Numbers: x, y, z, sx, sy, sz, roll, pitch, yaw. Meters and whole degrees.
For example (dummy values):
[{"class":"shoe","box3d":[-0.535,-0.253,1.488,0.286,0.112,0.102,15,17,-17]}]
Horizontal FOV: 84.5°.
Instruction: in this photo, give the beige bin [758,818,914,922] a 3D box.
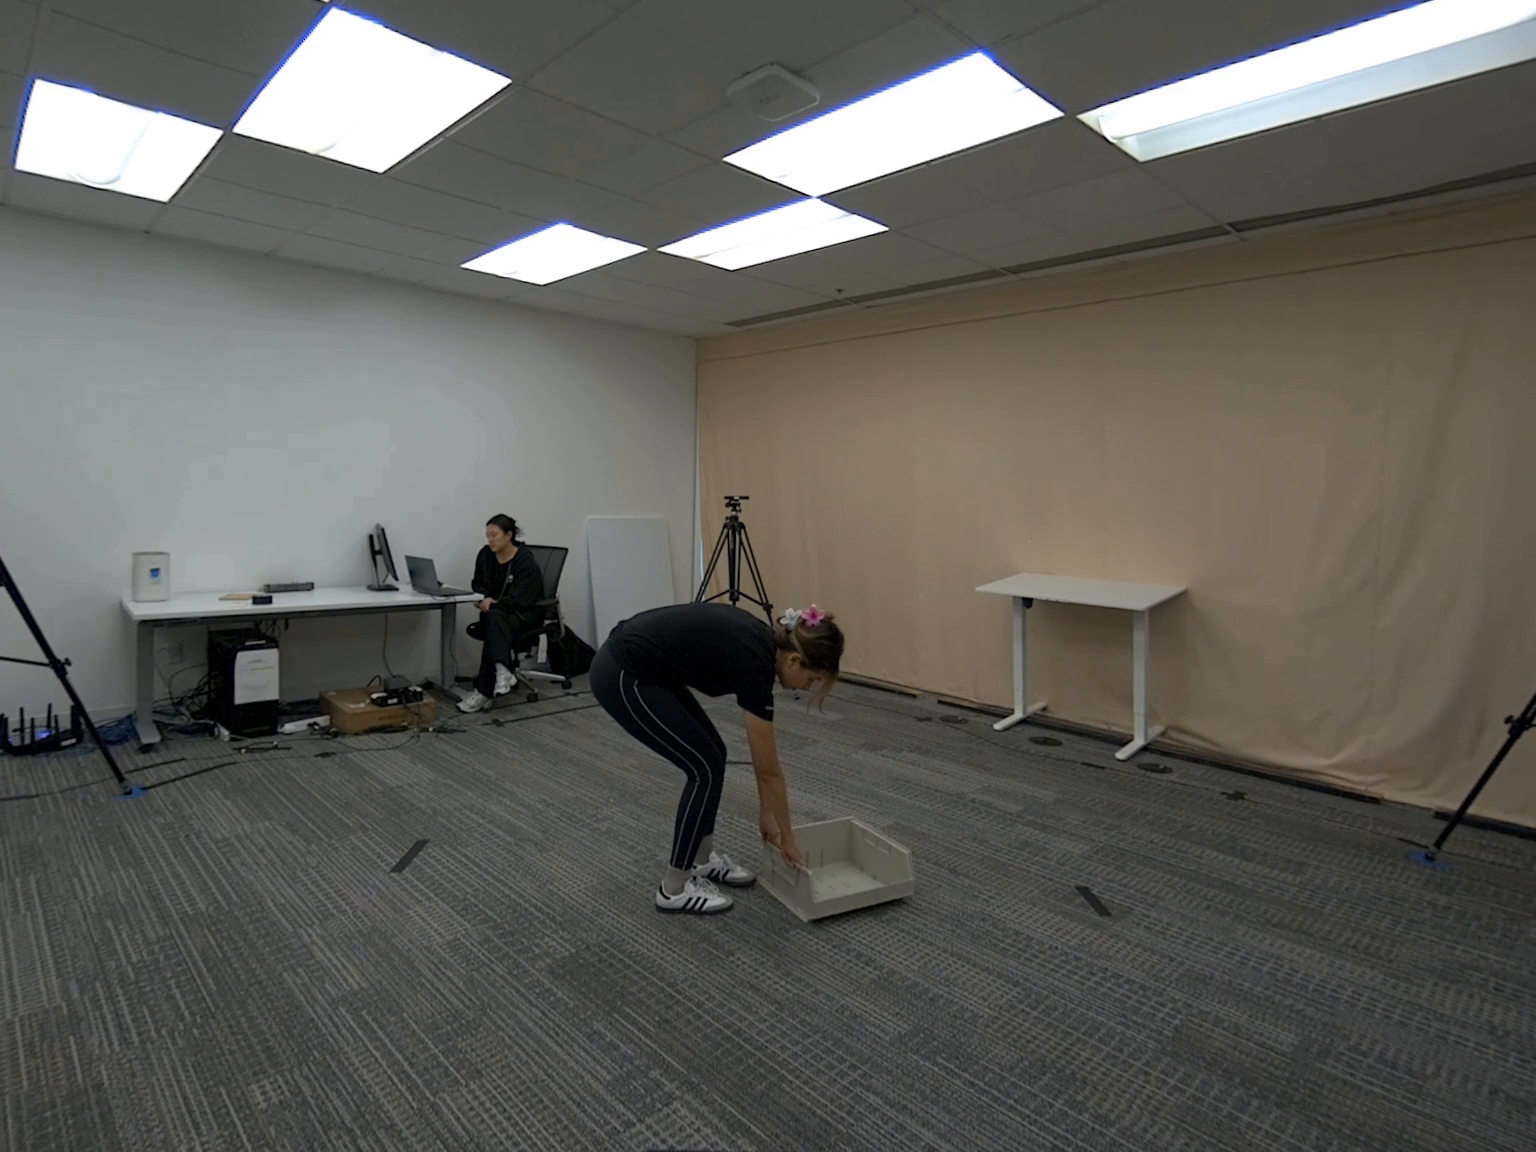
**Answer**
[{"class":"beige bin","box3d":[0.229,1.034,2.971,0.414,0.188,0.385,-2,5,-29]}]
